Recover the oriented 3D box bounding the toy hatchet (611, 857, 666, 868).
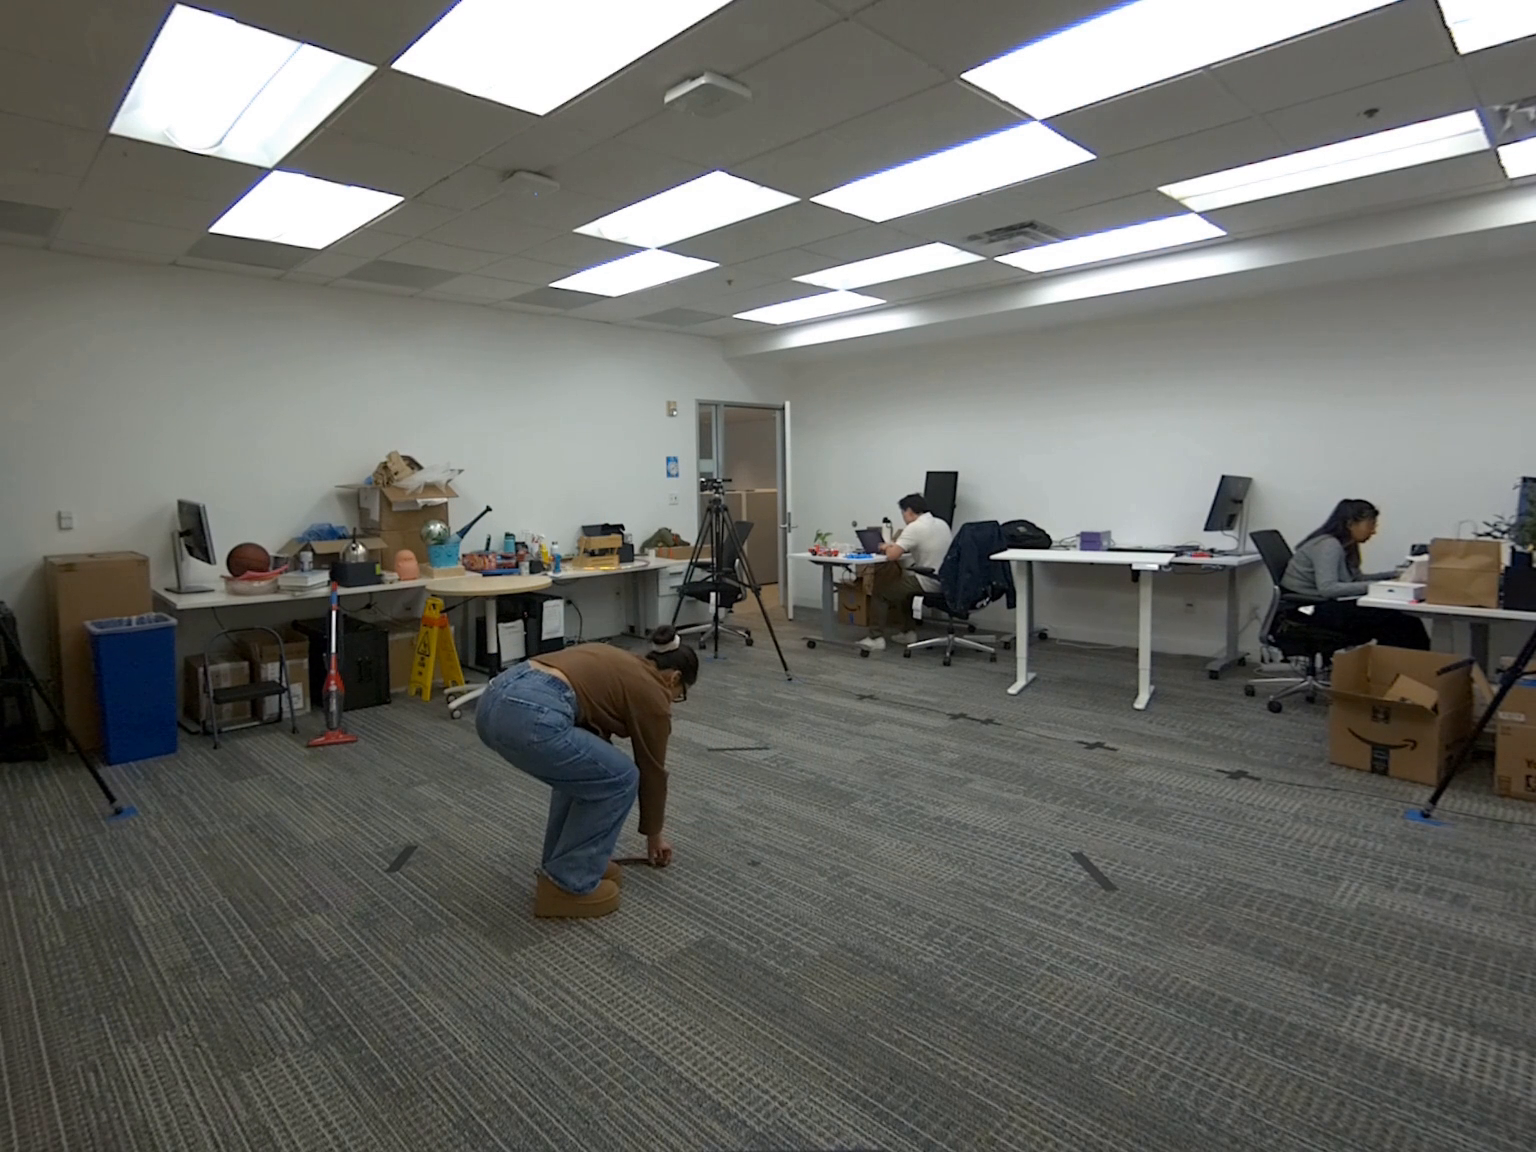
[{"bbox_3d":[-0.494,1.038,3.085,0.274,0.029,0.130,1,10,15],"label":"toy hatchet"}]
